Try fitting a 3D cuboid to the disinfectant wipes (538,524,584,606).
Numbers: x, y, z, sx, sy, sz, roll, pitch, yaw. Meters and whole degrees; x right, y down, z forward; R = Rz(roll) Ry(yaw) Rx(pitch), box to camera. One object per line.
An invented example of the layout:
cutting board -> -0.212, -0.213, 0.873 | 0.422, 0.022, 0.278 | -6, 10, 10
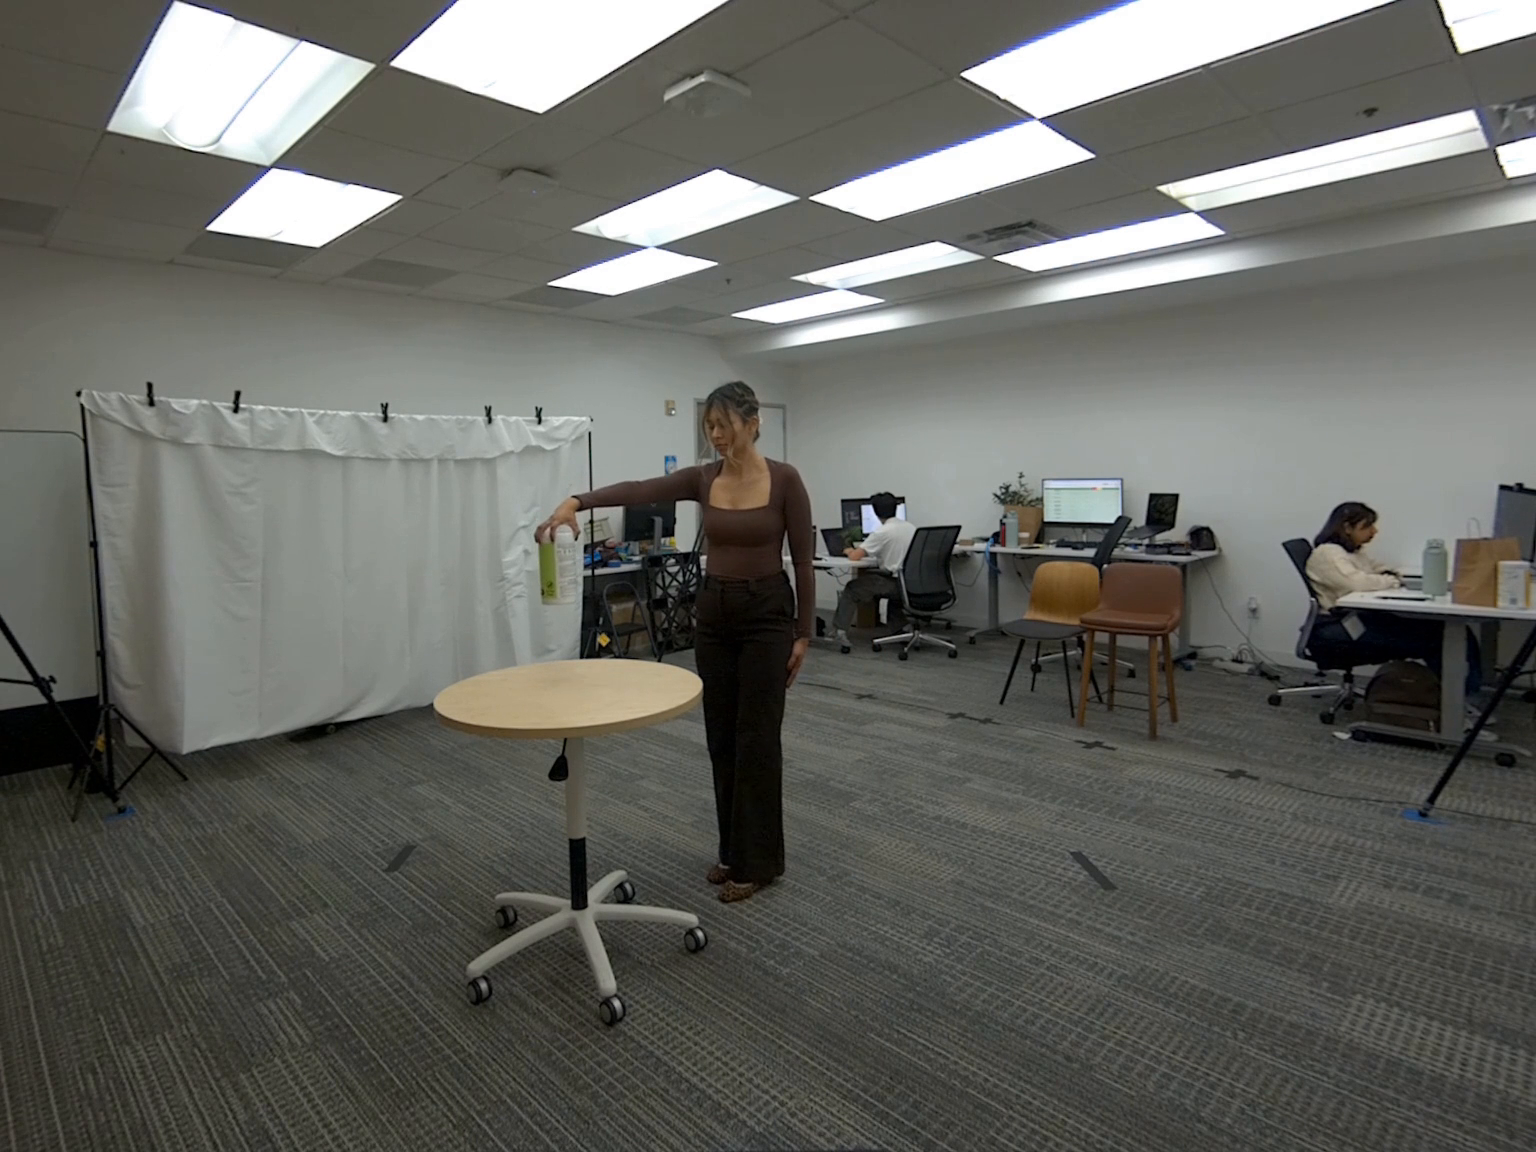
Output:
disinfectant wipes -> -0.635, -0.023, 2.579 | 0.118, 0.217, 0.118 | -1, 3, -2
